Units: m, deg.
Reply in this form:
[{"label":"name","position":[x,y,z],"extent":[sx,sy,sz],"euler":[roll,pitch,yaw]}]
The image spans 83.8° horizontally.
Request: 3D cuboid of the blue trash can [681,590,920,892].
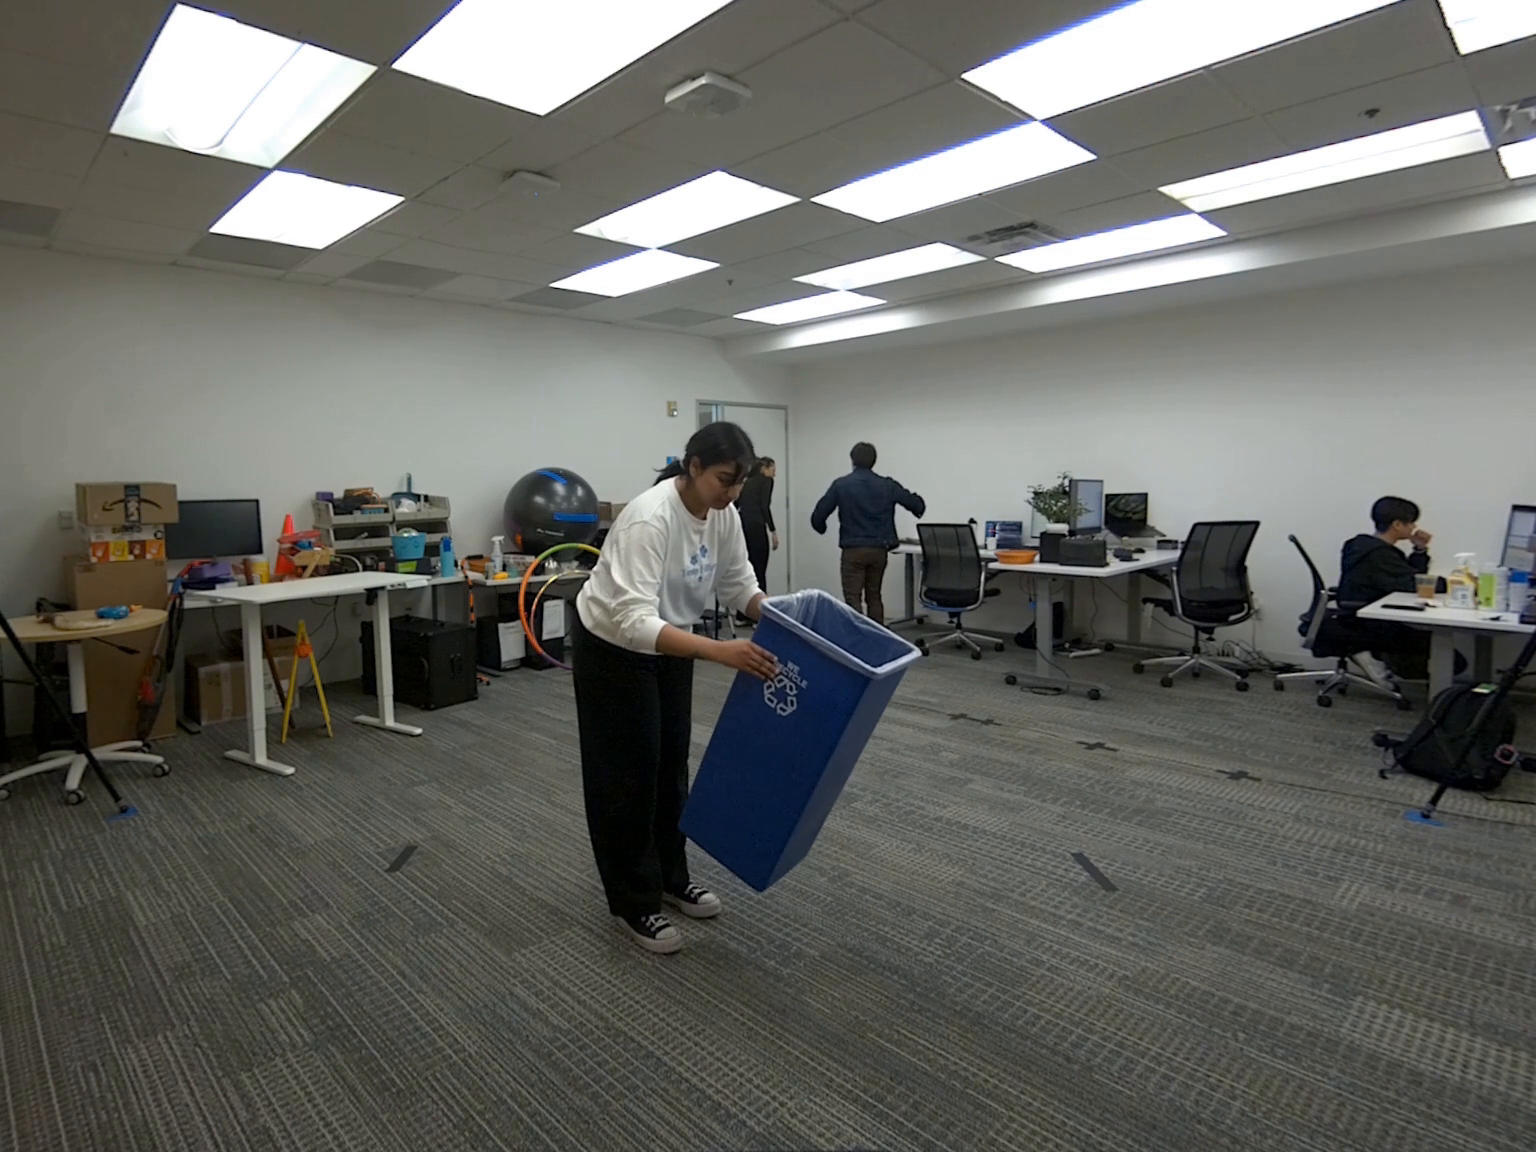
[{"label":"blue trash can","position":[0.076,0.451,2.358],"extent":[0.385,0.708,0.369],"euler":[29,16,25]}]
